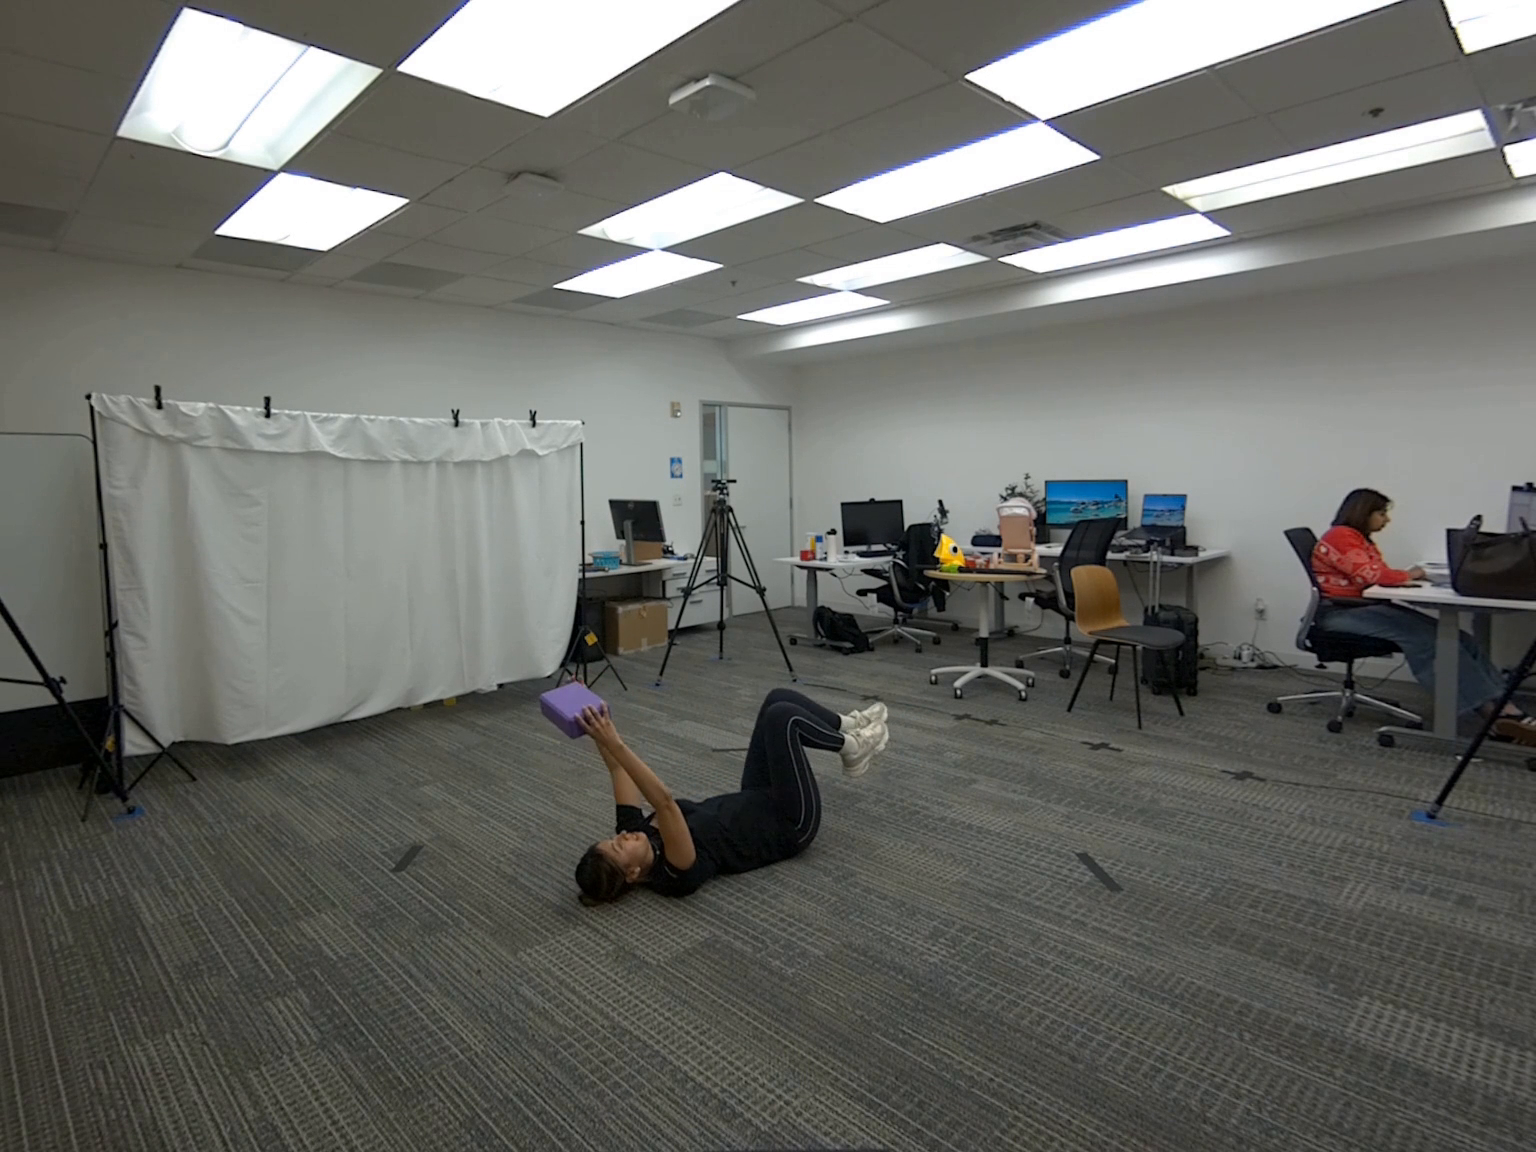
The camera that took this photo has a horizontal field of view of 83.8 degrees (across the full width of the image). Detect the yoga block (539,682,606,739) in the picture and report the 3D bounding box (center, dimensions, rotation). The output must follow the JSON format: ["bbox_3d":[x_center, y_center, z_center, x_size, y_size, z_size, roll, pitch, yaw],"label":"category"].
[{"bbox_3d":[-0.621,0.433,2.772,0.146,0.075,0.238,-17,24,-33],"label":"yoga block"}]
